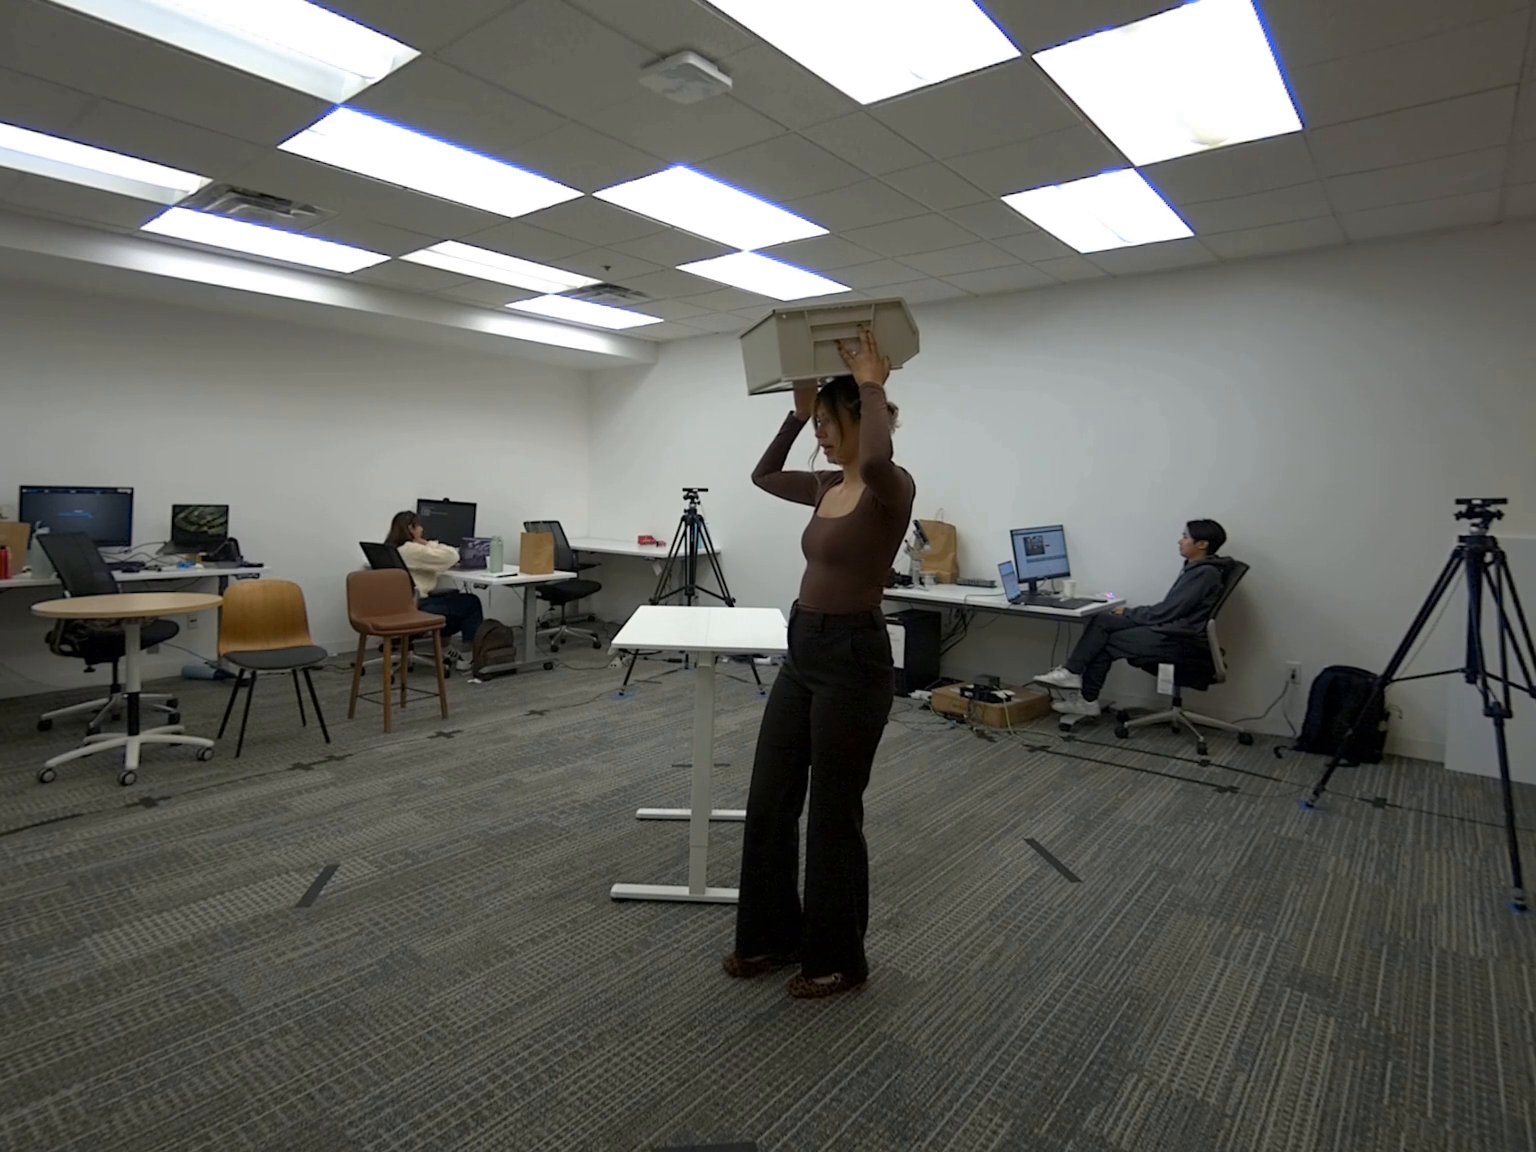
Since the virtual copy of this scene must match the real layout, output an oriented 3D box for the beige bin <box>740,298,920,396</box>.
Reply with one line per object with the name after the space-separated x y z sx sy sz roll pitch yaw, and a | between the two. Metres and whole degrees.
0.141 -0.621 2.319 0.374 0.188 0.429 -9 7 -11 | beige bin
